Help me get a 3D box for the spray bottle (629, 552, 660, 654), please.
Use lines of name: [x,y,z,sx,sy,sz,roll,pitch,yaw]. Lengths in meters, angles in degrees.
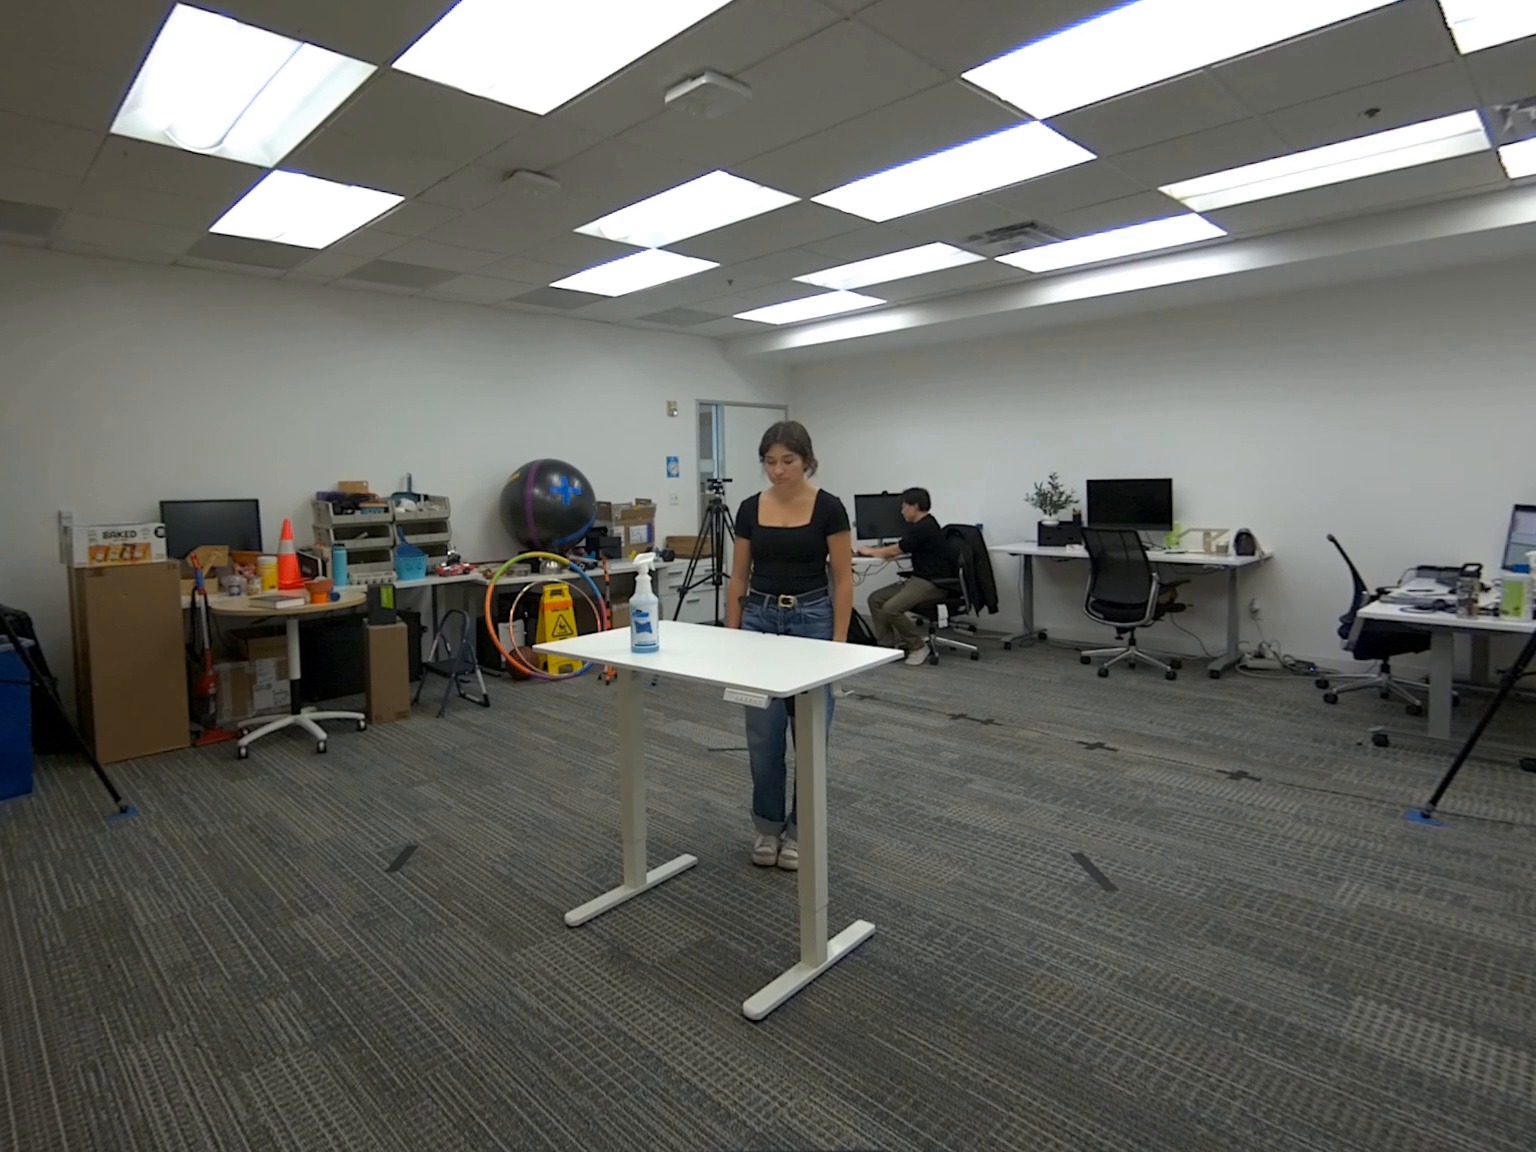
spray bottle: [-0.375,0.083,2.590,0.088,0.296,0.089,-2,3,-27]
